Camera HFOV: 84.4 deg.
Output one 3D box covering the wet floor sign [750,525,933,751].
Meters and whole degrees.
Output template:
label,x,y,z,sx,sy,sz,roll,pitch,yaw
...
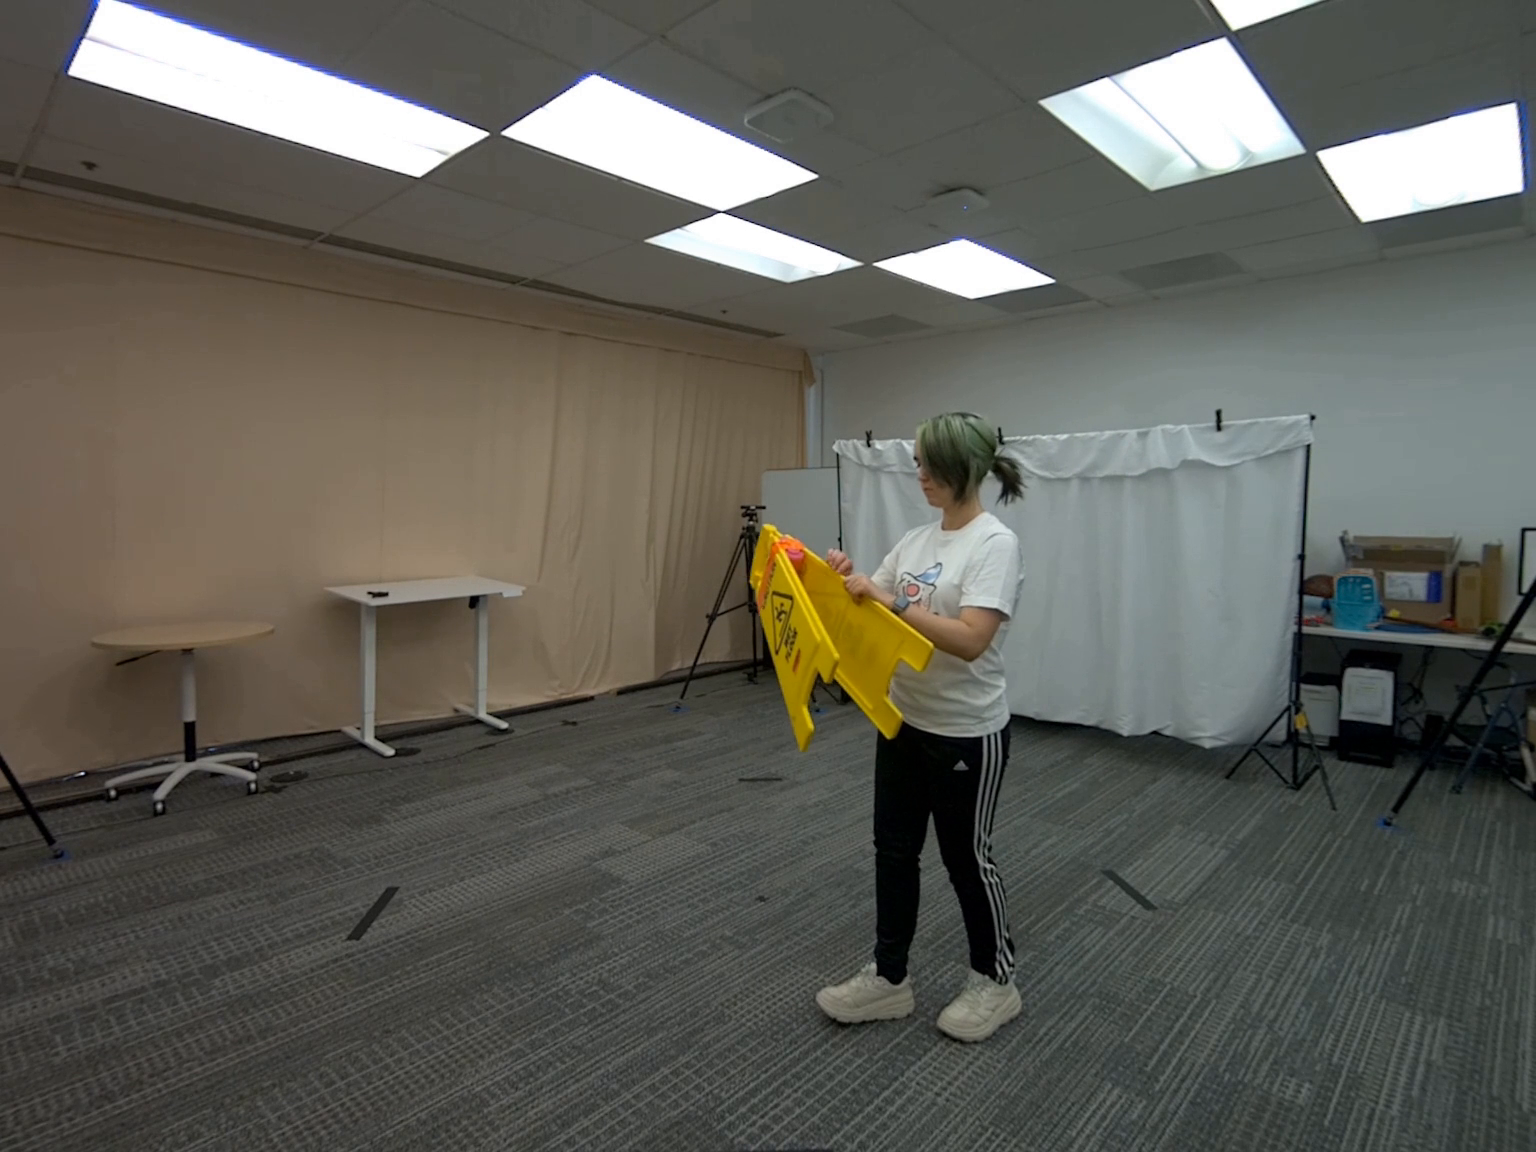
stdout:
label,x,y,z,sx,sy,sz,roll,pitch,yaw
wet floor sign,0.103,0.108,2.161,0.282,0.280,0.668,-1,32,-27
